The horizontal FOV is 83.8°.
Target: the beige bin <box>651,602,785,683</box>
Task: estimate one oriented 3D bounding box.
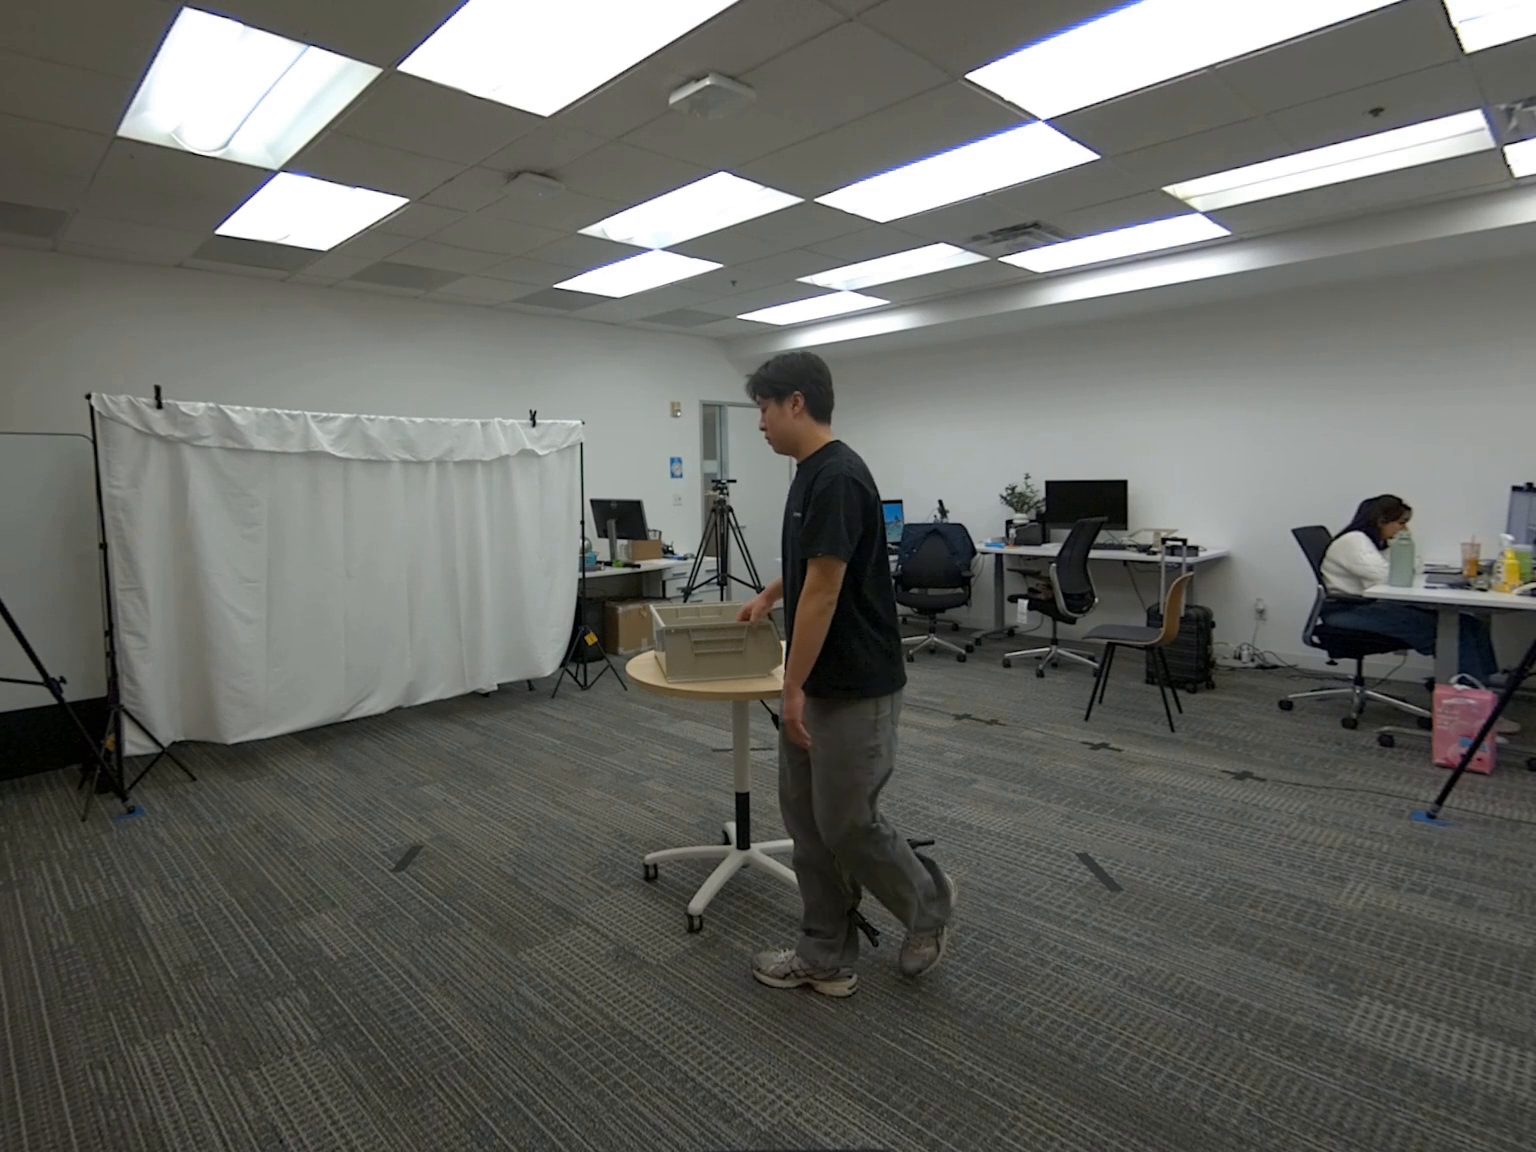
[{"bbox_3d":[-0.183,0.210,2.838,0.373,0.188,0.429,-3,7,-12],"label":"beige bin"}]
